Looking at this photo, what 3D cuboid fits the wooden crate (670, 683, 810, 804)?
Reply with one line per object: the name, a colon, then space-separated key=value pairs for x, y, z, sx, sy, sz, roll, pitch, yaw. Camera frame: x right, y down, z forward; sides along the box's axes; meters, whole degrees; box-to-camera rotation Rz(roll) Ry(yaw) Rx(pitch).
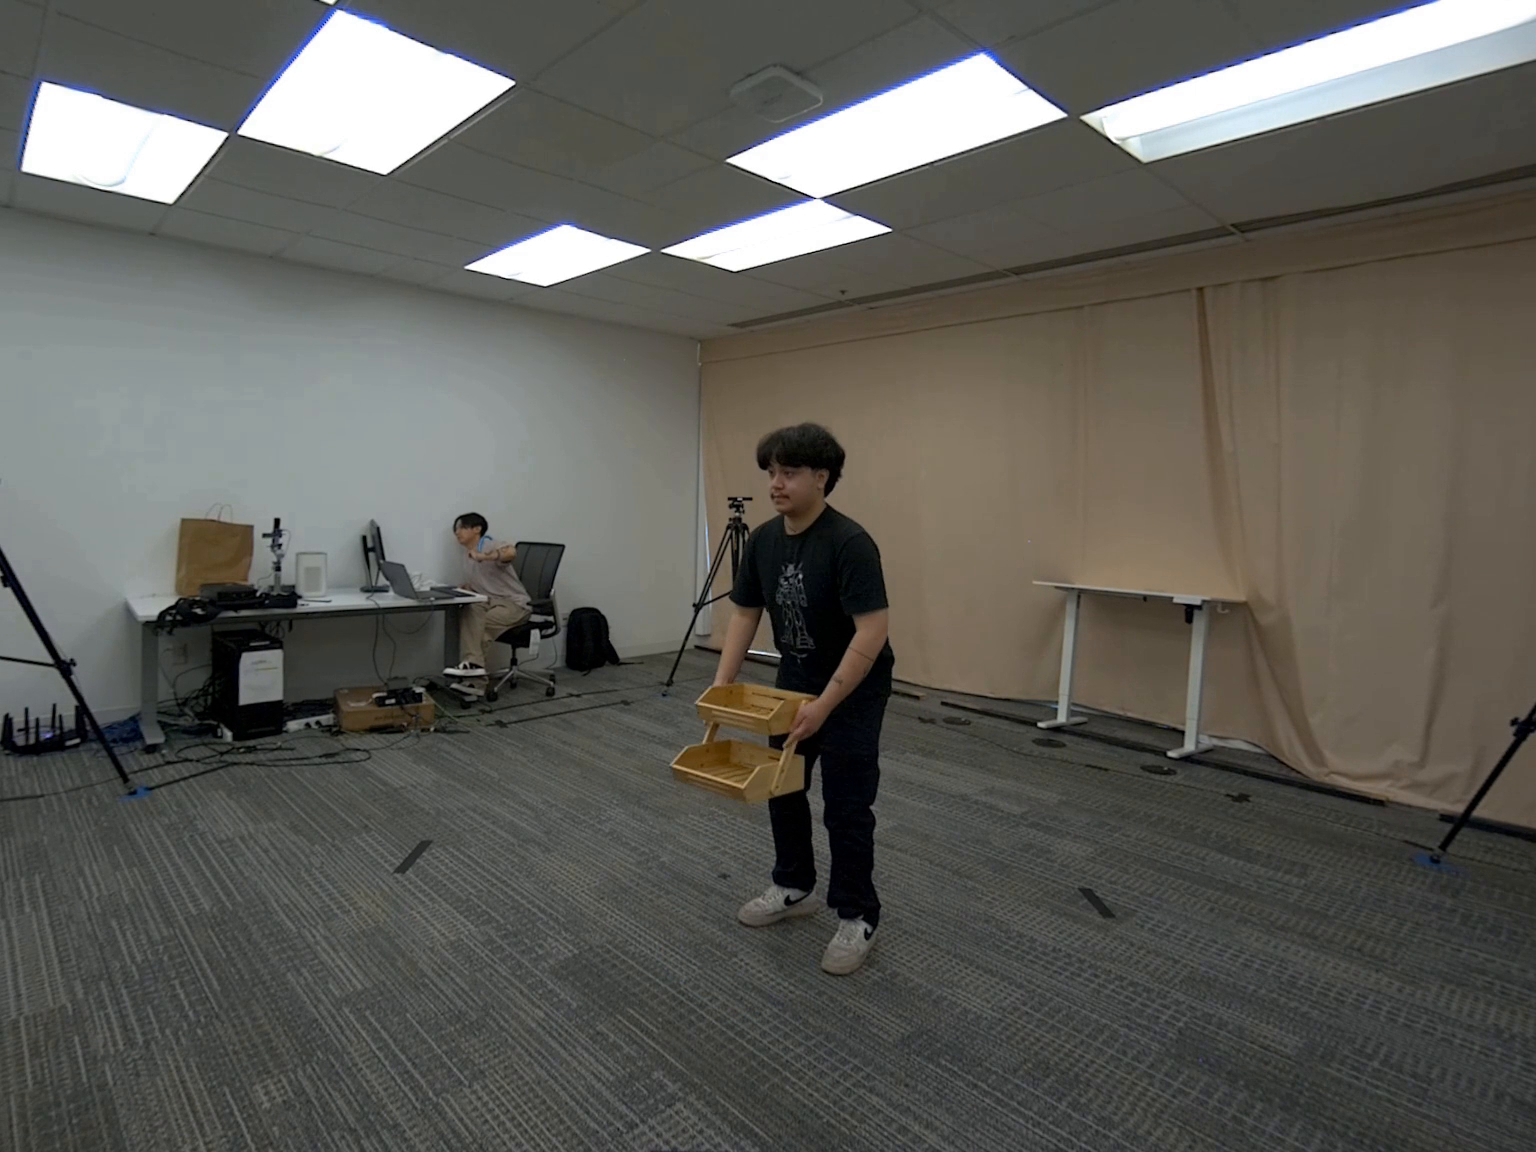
wooden crate: x=-0.080 y=0.477 z=2.435 sx=0.332 sy=0.273 sz=0.294 roll=3 pitch=1 yaw=44
